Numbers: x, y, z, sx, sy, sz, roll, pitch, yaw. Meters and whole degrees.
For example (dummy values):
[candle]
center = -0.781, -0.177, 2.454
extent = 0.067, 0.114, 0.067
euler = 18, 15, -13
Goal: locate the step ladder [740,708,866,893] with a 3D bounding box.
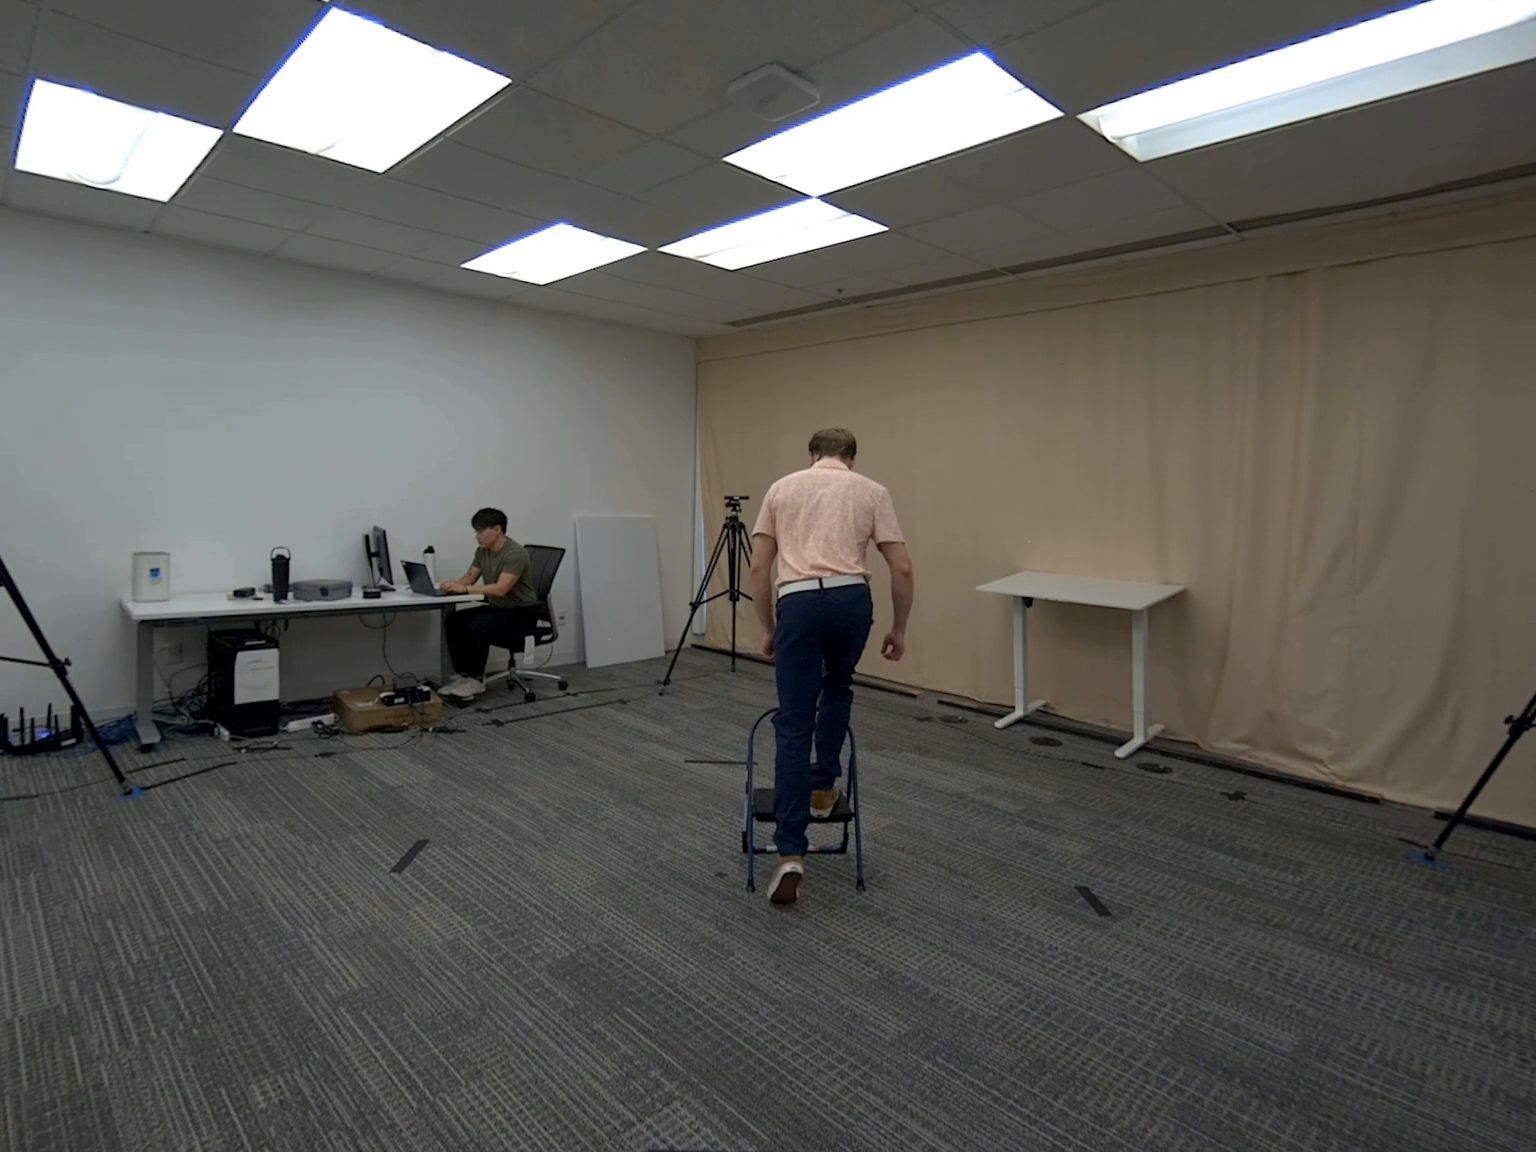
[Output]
[step ladder]
center = 0.120, 0.810, 3.148
extent = 0.429, 0.604, 0.351
euler = 0, 4, -5
